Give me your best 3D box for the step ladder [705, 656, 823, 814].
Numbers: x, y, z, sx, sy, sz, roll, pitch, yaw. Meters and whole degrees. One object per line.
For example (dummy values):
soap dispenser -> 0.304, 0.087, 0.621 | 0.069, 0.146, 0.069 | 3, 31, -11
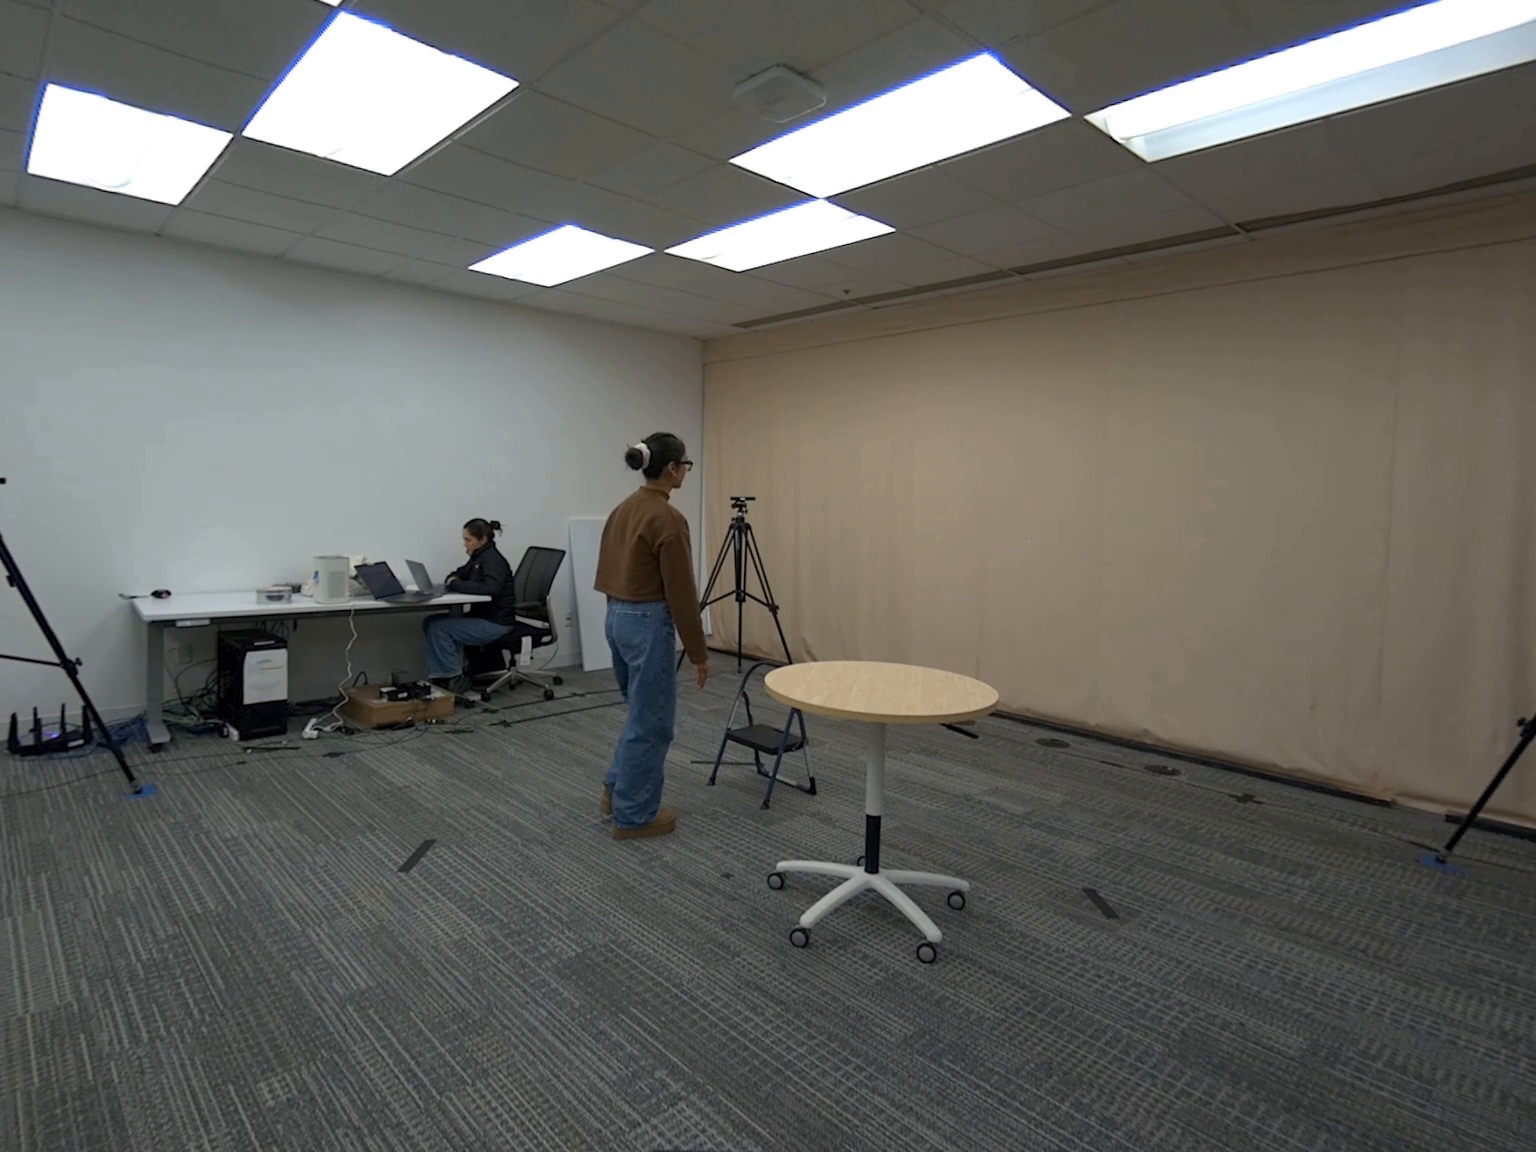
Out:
step ladder -> -0.027, 0.731, 4.042 | 0.341, 0.605, 0.441 | -1, 4, -41
